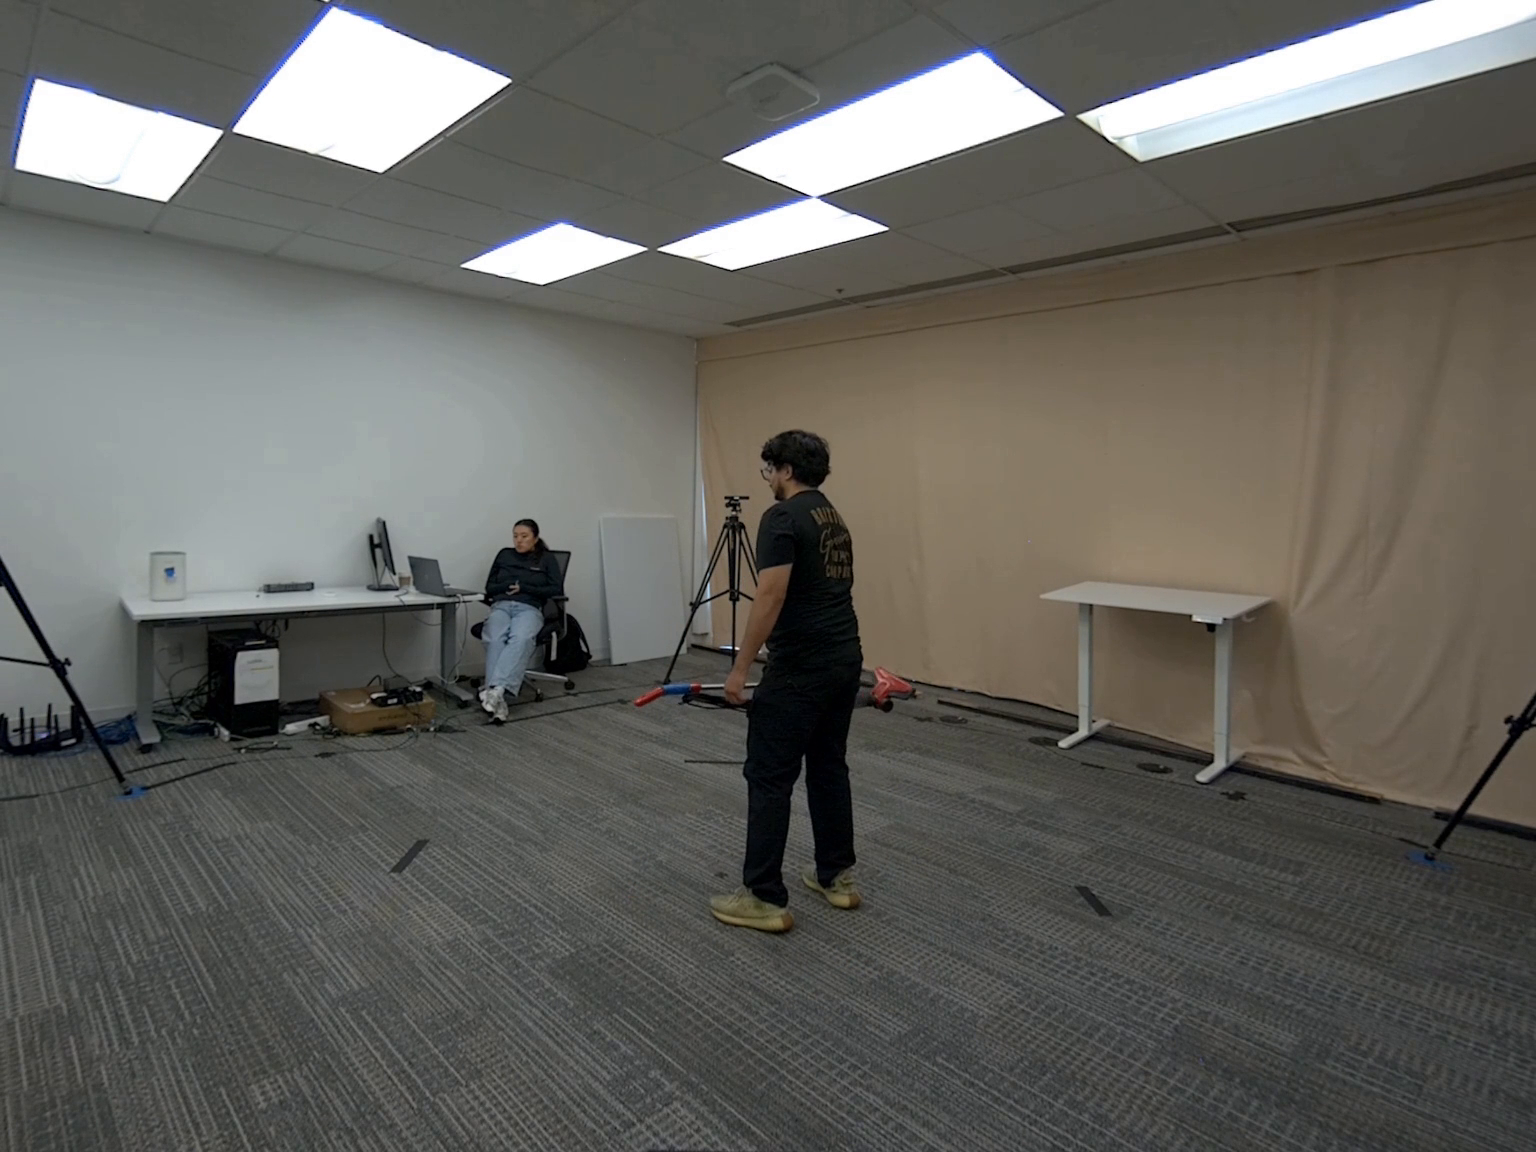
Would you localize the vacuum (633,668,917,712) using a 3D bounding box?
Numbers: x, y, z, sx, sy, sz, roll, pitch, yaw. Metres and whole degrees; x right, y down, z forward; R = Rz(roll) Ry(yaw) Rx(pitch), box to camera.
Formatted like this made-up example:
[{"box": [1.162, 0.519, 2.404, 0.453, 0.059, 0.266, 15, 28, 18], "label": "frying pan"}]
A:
[{"box": [0.000, 0.455, 3.125, 1.031, 0.143, 0.259, 1, 13, -24], "label": "vacuum"}]
